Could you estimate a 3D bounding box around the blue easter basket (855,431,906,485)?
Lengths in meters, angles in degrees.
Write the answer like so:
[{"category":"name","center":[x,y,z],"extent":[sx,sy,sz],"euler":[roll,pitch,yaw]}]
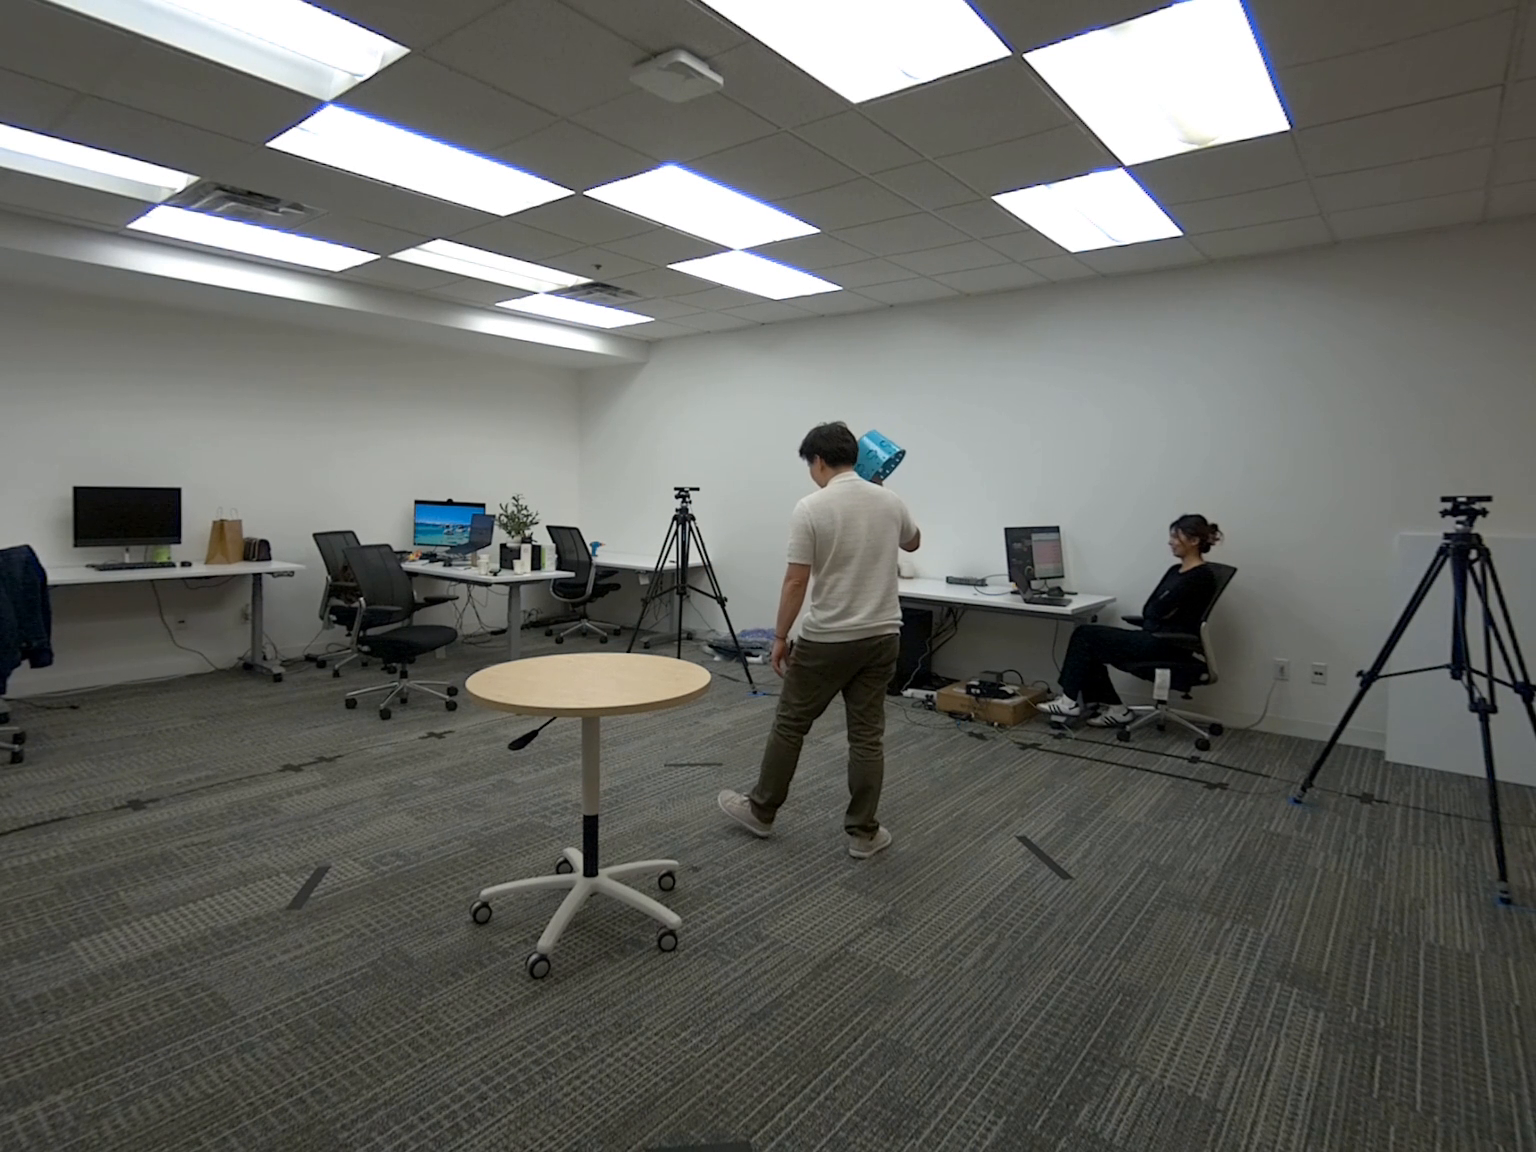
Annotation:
[{"category":"blue easter basket","center":[0.420,-0.489,3.556],"extent":[0.160,0.243,0.238],"euler":[48,22,15]}]
